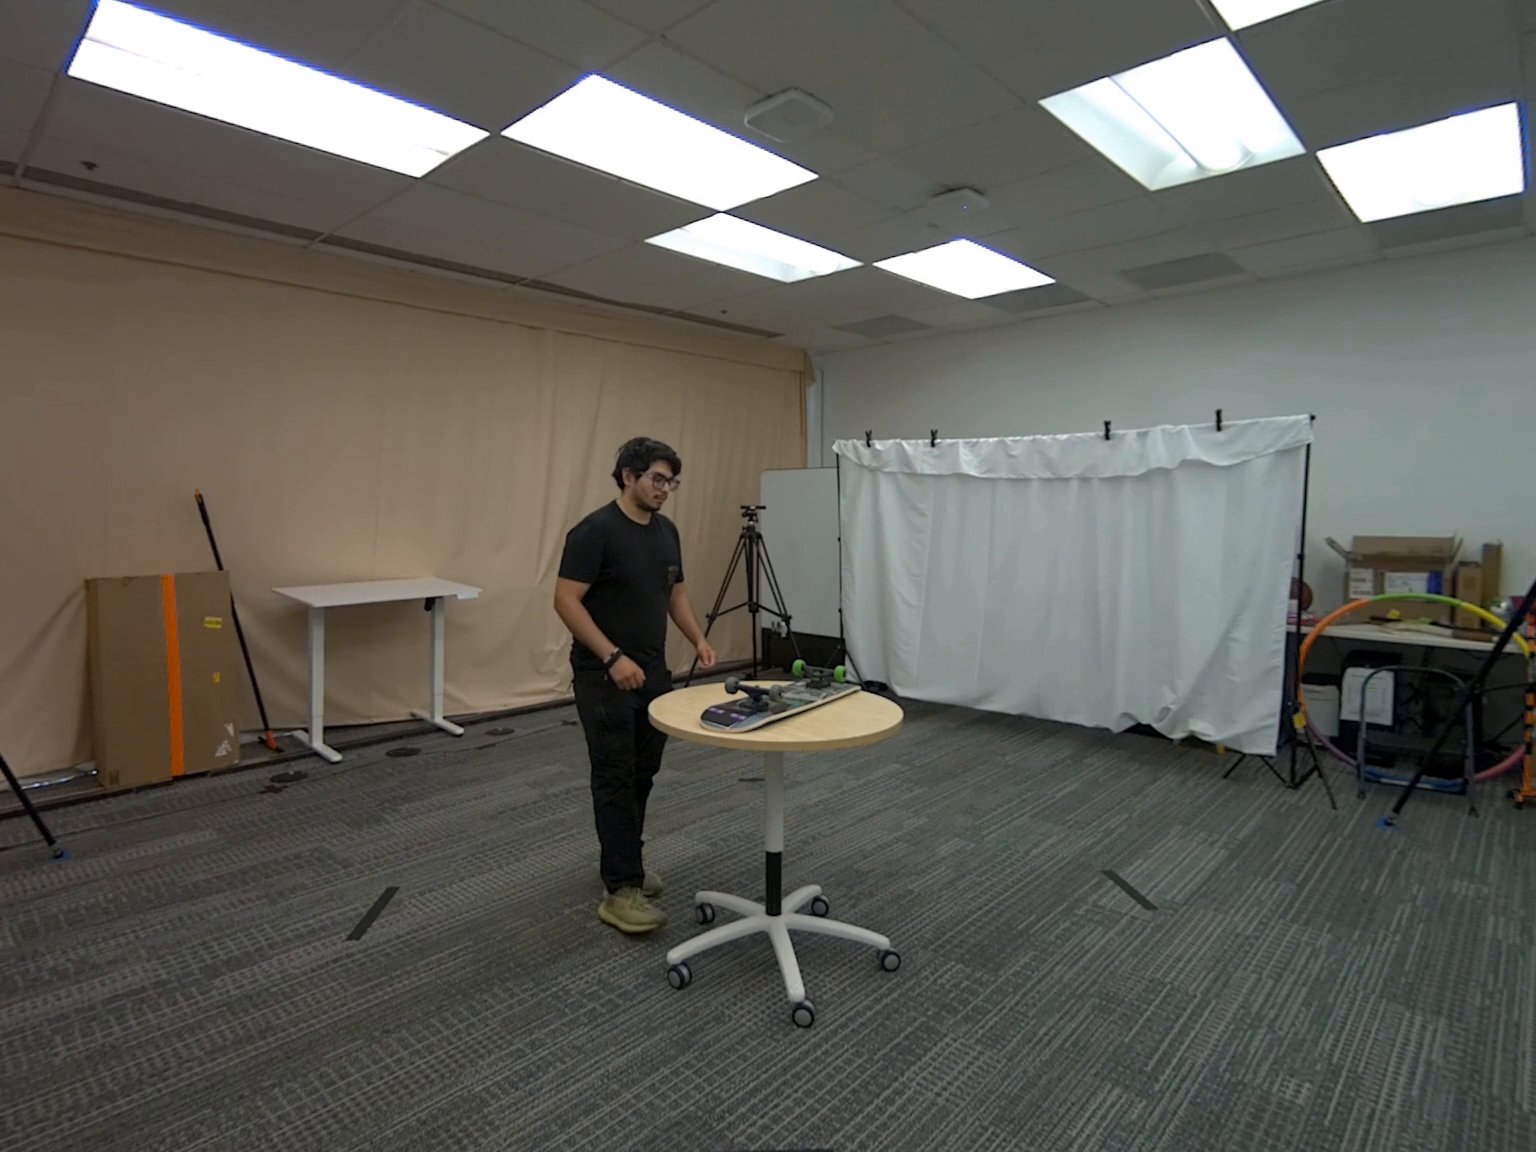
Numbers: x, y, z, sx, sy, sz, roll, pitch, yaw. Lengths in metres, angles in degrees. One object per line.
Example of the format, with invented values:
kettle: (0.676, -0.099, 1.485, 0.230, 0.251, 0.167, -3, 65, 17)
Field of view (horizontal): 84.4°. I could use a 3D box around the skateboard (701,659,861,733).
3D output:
skateboard: (0.071, 0.351, 2.574, 0.199, 0.110, 0.762, 2, 3, 36)
